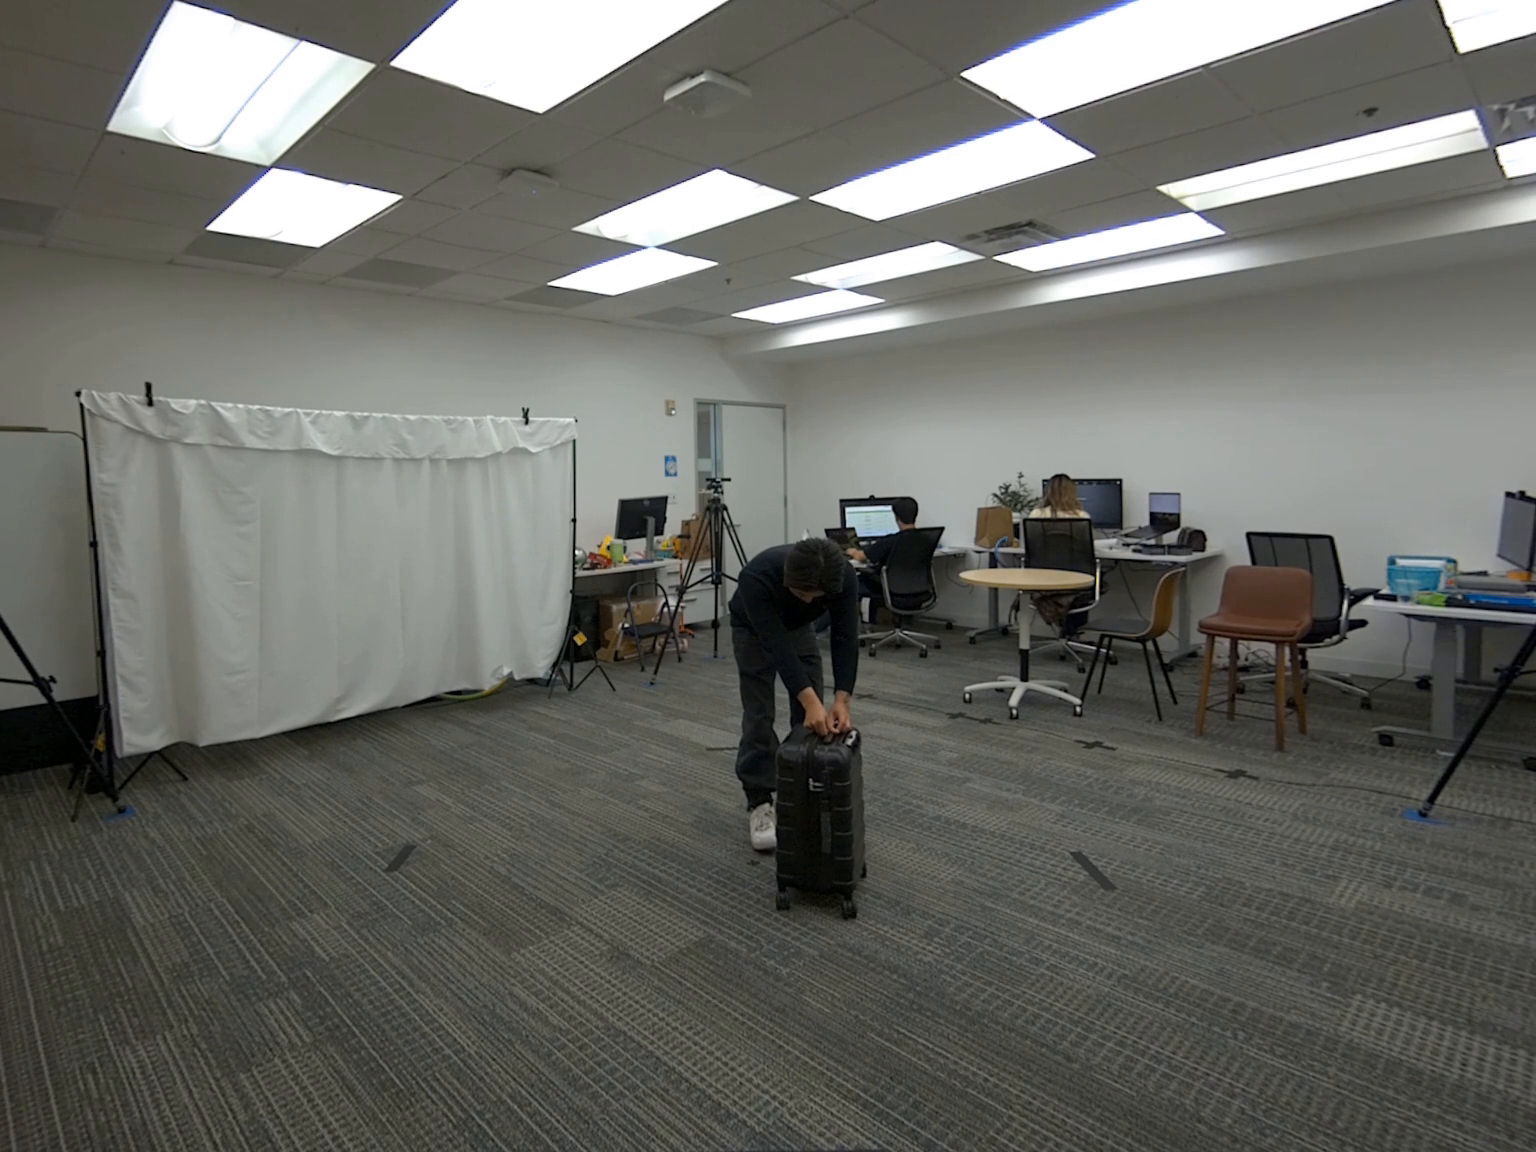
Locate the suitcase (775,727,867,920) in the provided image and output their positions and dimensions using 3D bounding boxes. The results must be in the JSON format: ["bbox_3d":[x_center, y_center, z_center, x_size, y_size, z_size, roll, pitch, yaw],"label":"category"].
[{"bbox_3d":[0.183,0.792,2.890,0.252,0.548,0.371,-2,4,15],"label":"suitcase"}]
